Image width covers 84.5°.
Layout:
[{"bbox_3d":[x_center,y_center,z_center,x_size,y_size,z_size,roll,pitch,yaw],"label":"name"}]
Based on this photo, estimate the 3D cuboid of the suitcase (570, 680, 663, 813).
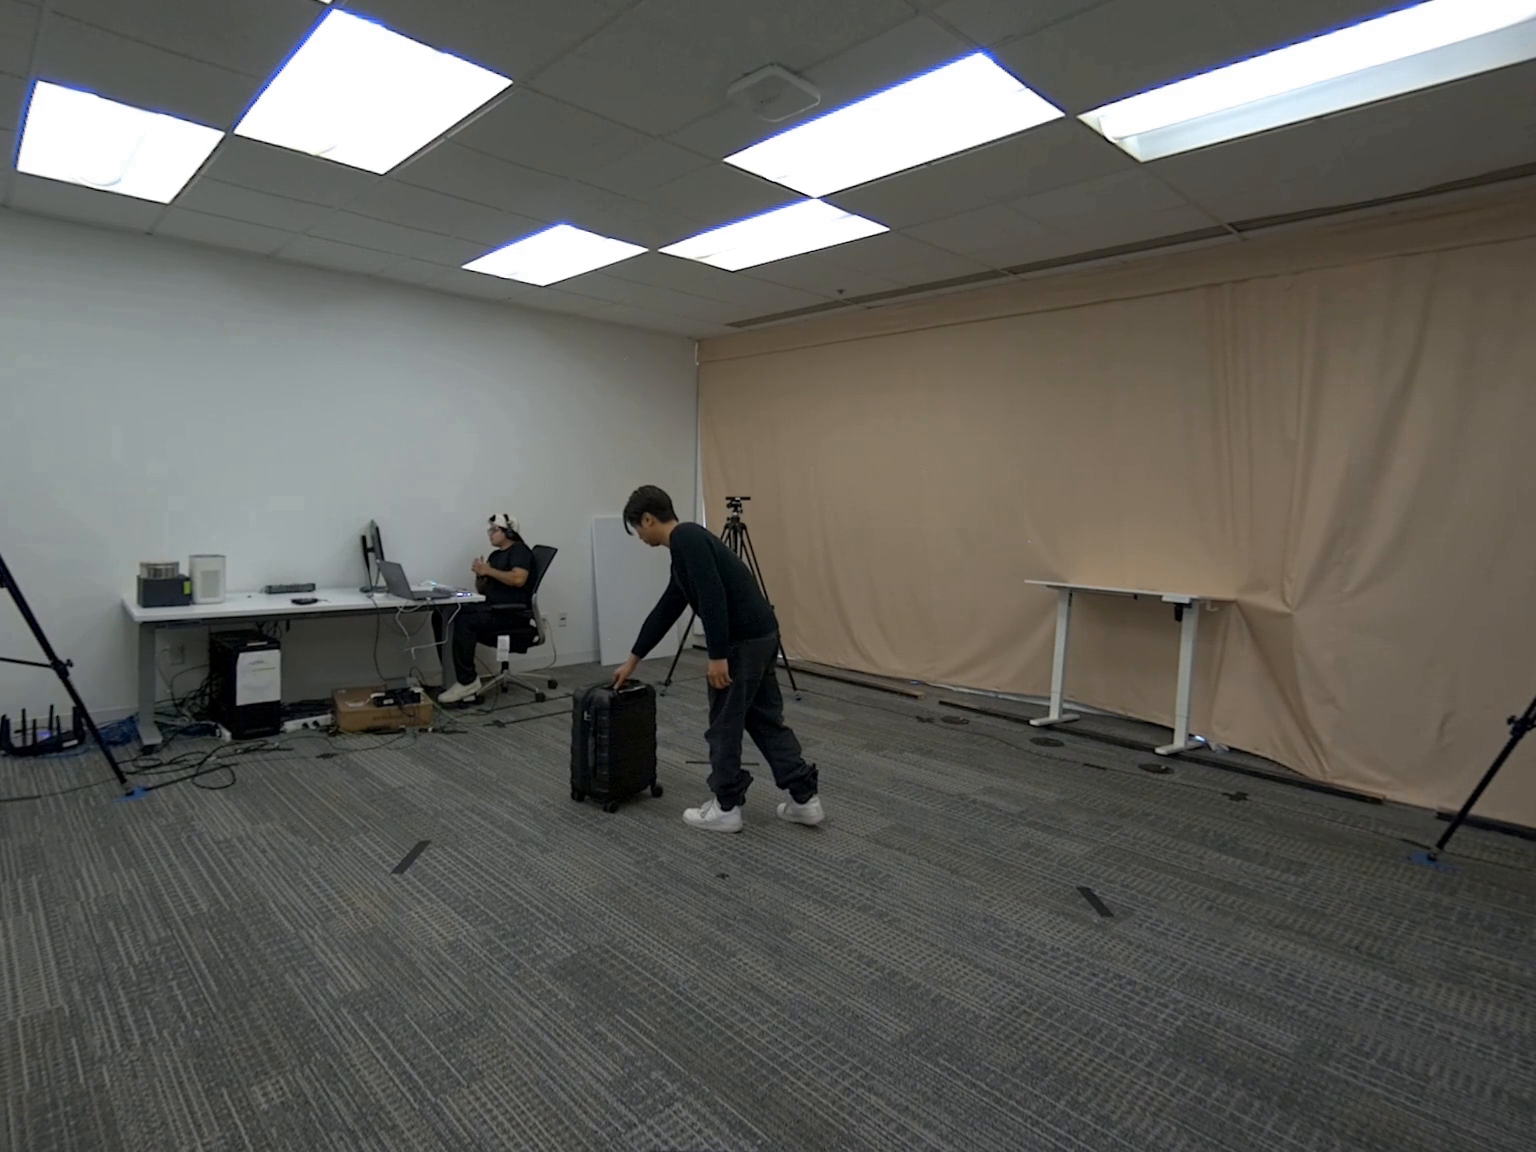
[{"bbox_3d":[-0.708,0.750,3.863,0.254,0.548,0.367,3,5,39],"label":"suitcase"}]
